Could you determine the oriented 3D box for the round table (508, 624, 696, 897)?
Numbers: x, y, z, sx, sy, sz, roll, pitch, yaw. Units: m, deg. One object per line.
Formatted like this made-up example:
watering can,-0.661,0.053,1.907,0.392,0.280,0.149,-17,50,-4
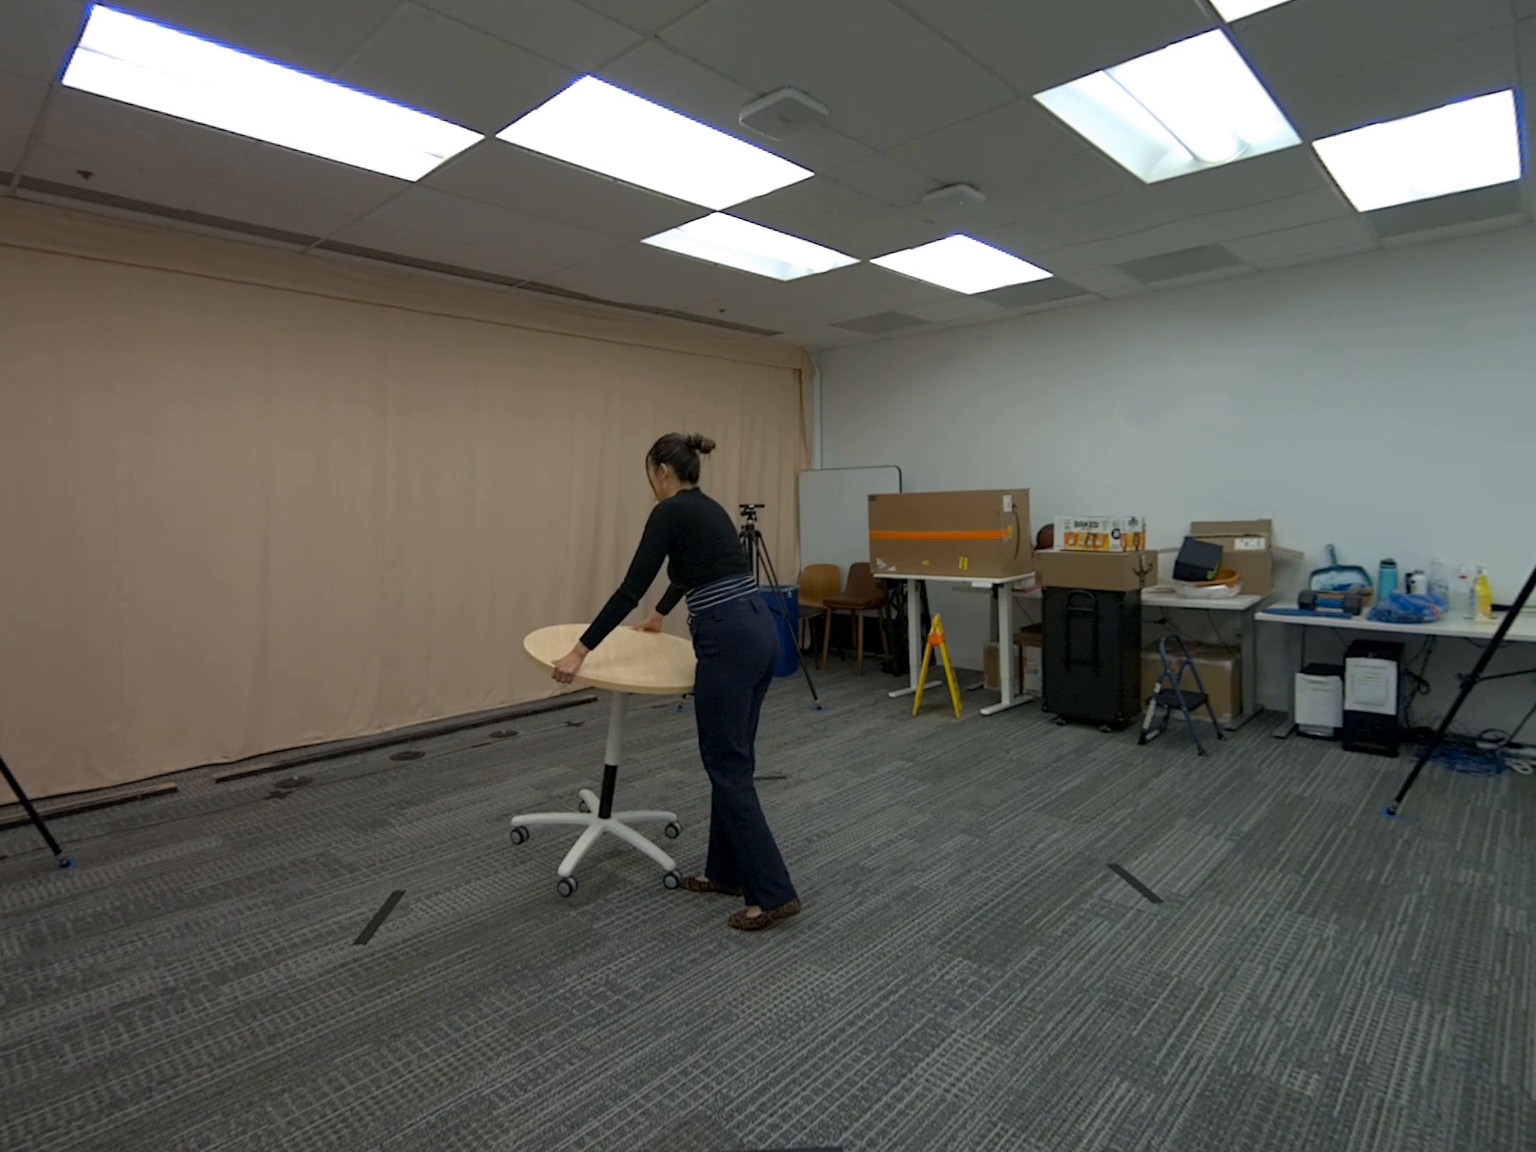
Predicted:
round table,-0.593,0.680,3.210,0.762,0.791,0.769,8,8,-3
